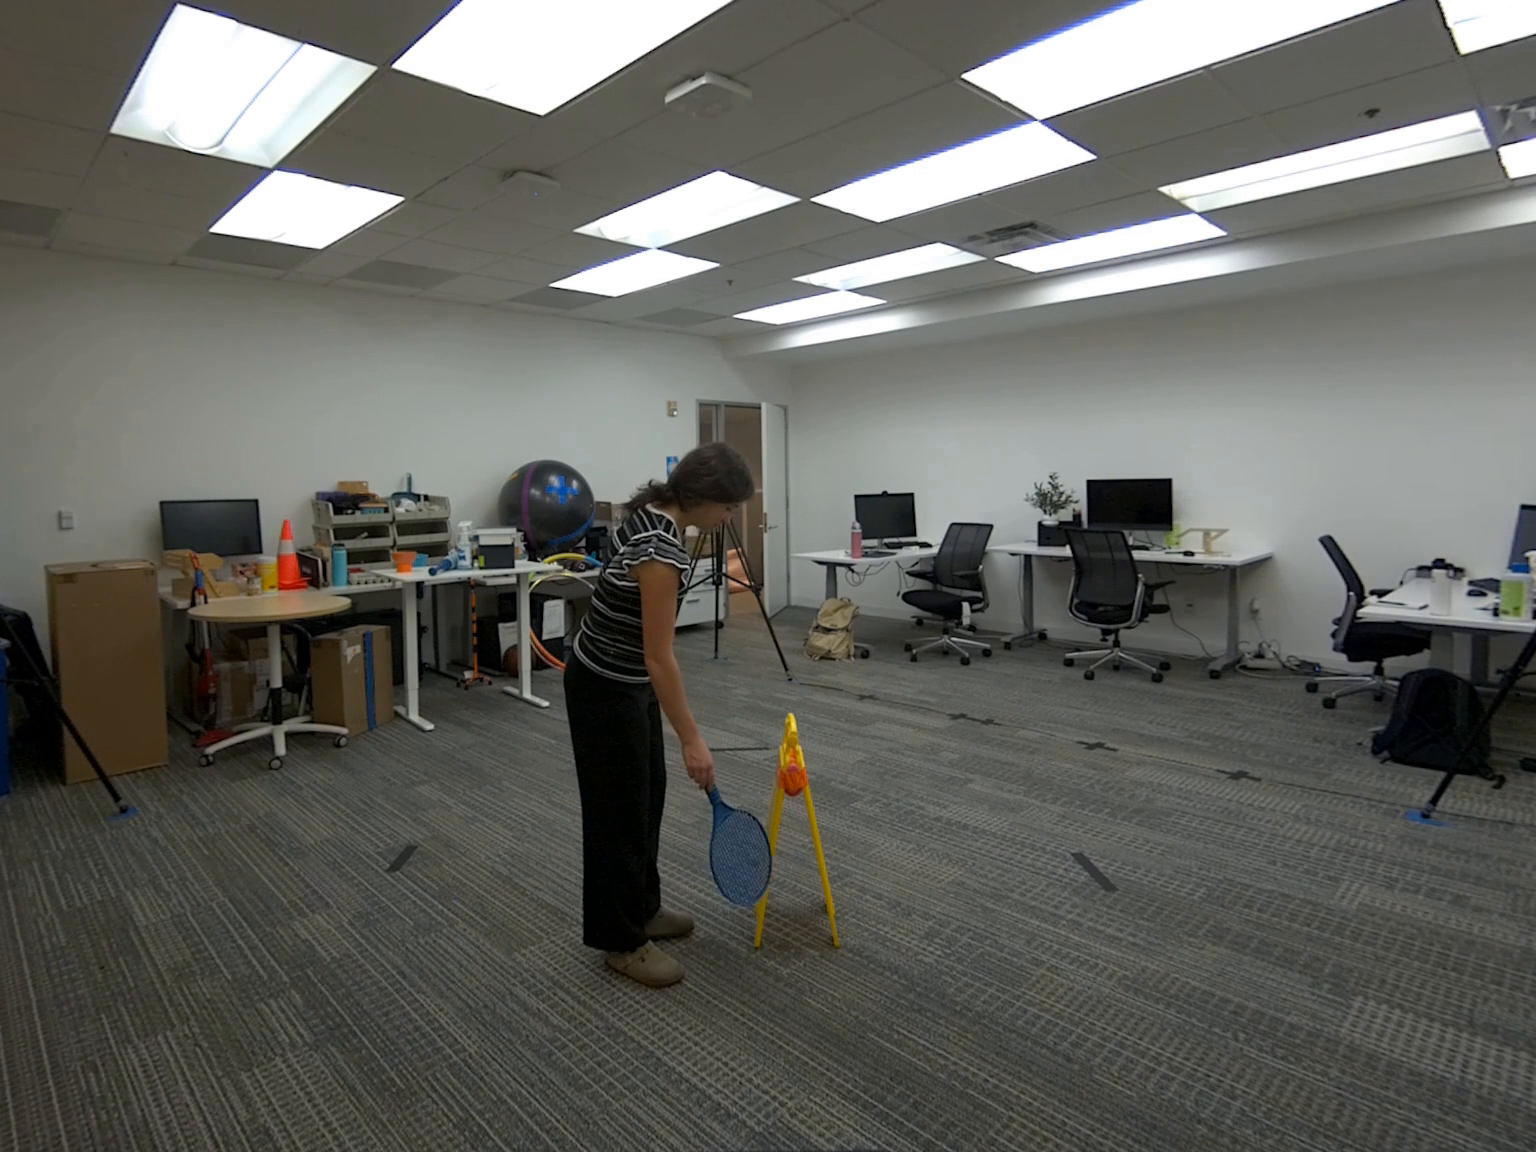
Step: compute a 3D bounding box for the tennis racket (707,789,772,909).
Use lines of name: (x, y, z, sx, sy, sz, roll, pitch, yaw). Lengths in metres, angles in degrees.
tennis racket: (-0.098, 0.687, 2.330, 0.032, 0.426, 0.212, -9, 19, 48)
